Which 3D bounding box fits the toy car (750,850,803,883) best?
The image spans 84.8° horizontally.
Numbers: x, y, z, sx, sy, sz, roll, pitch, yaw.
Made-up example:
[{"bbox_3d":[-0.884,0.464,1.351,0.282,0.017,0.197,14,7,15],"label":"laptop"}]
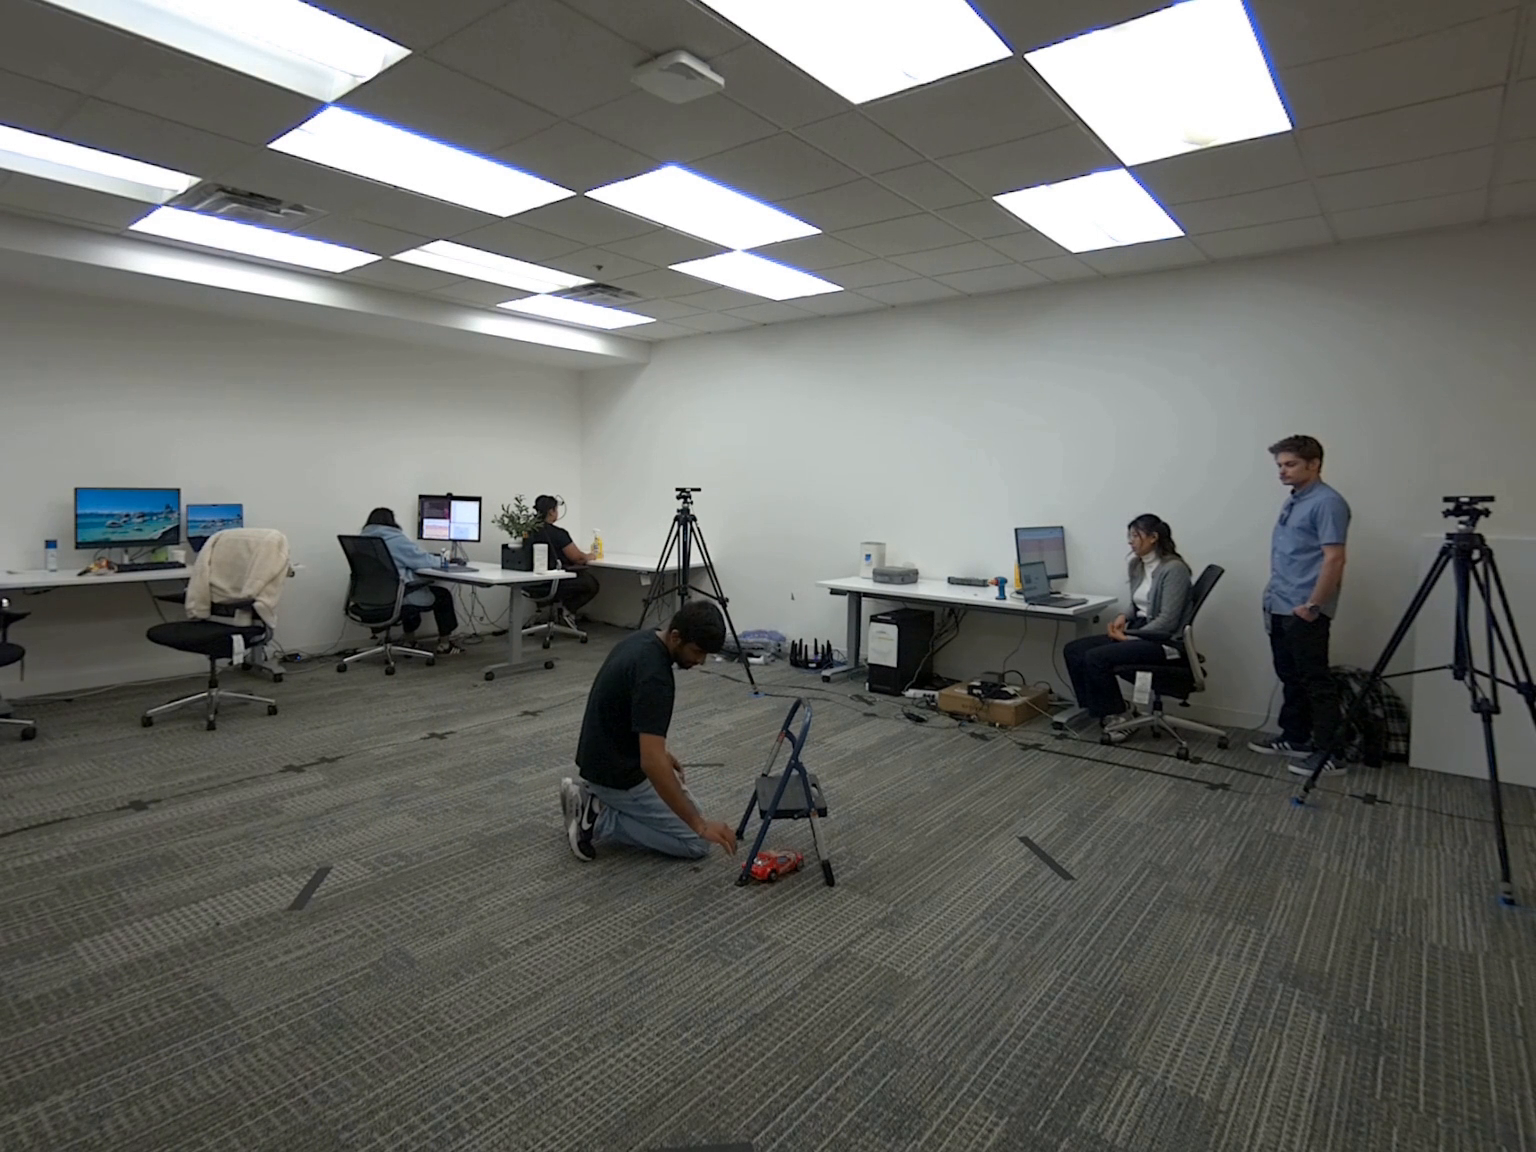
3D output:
[{"bbox_3d":[0.006,1.047,3.080,0.245,0.083,0.135,12,-3,-43],"label":"toy car"}]
